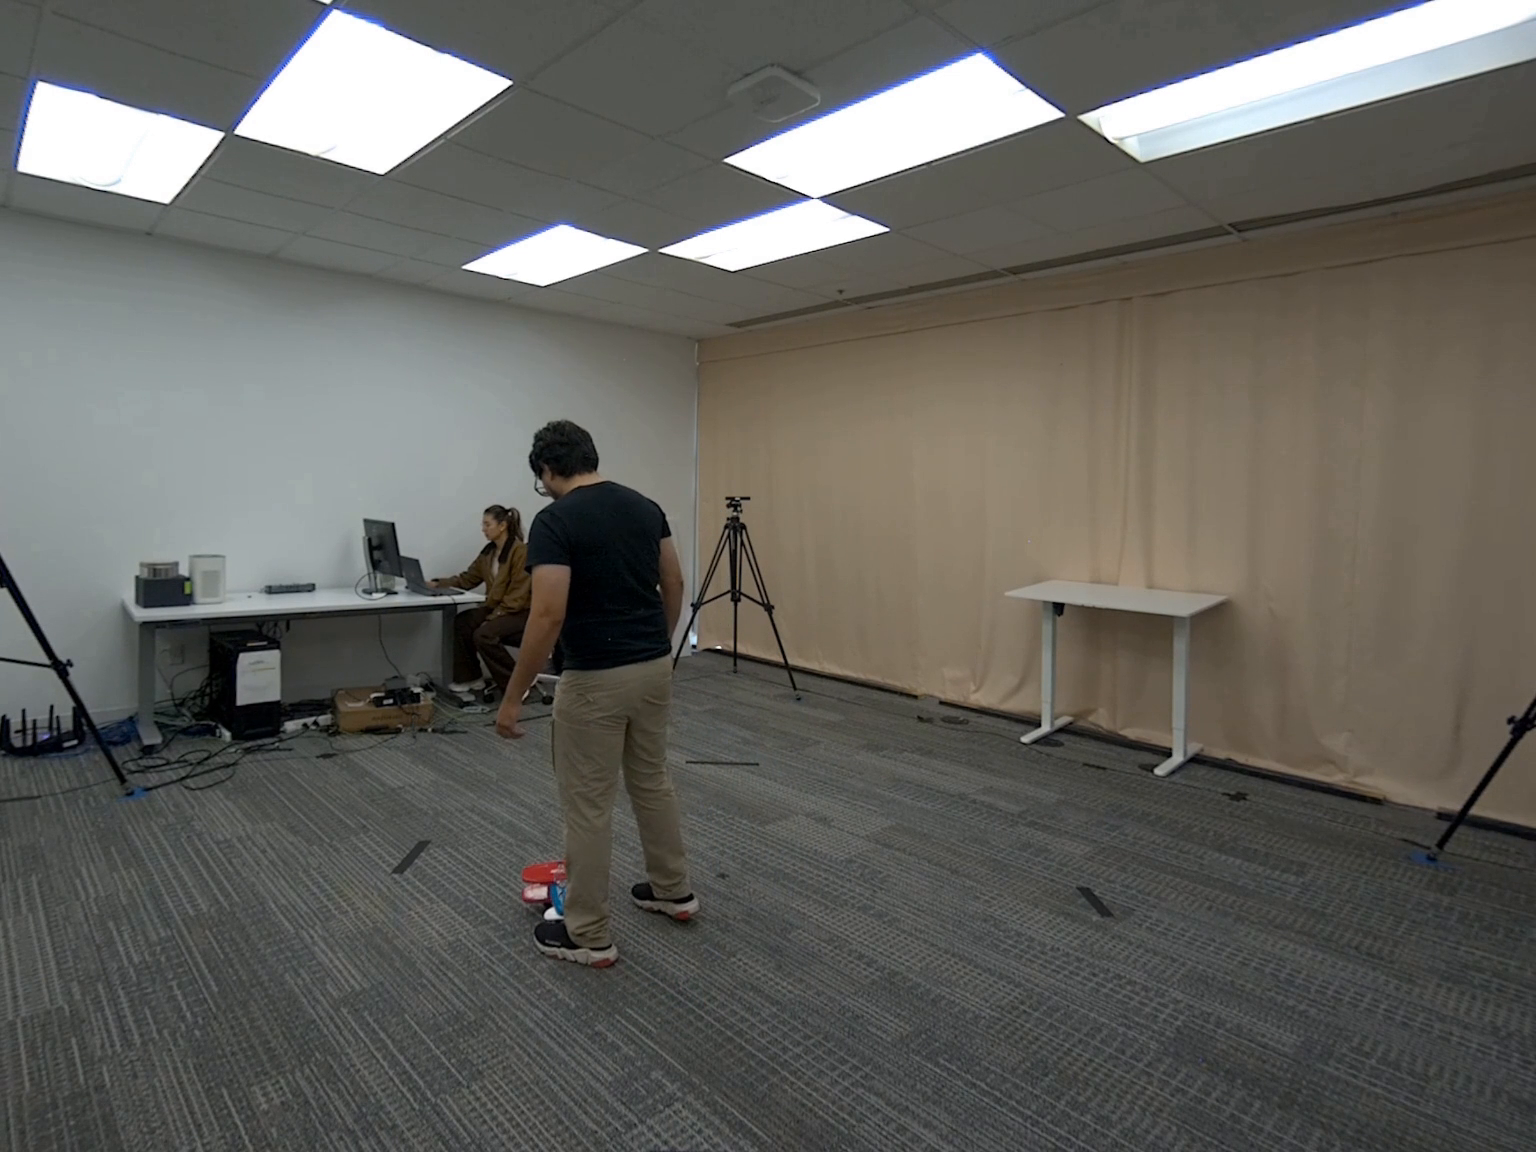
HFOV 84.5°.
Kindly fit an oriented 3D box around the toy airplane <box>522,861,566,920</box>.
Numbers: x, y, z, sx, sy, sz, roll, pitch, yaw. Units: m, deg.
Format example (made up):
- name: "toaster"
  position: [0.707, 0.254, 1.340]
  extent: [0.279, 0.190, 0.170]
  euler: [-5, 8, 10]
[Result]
- name: "toy airplane"
  position: [-0.672, 1.052, 2.786]
  extent: [0.245, 0.156, 0.266]
  euler: [-4, 7, -44]
